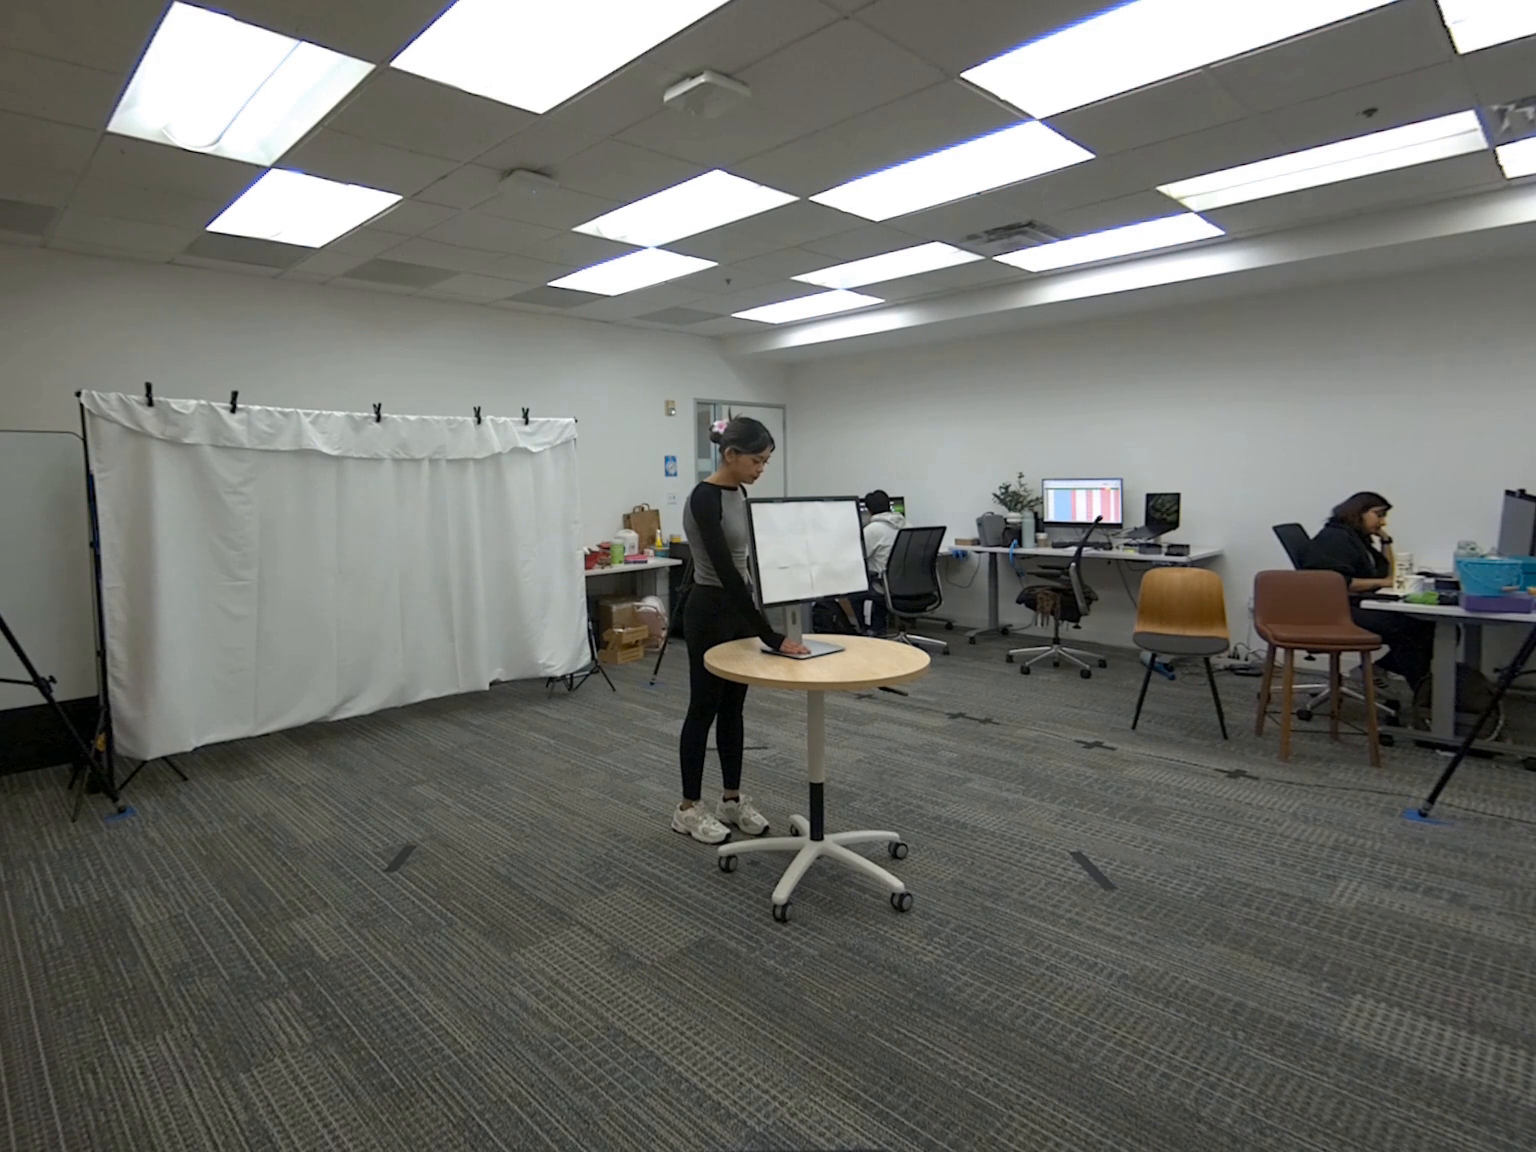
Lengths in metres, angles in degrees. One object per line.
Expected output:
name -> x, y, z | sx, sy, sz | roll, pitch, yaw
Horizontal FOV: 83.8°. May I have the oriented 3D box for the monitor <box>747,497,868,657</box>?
monitor -> 0.120, -0.003, 2.980 | 0.525, 0.520, 0.193 | -5, 7, -44
